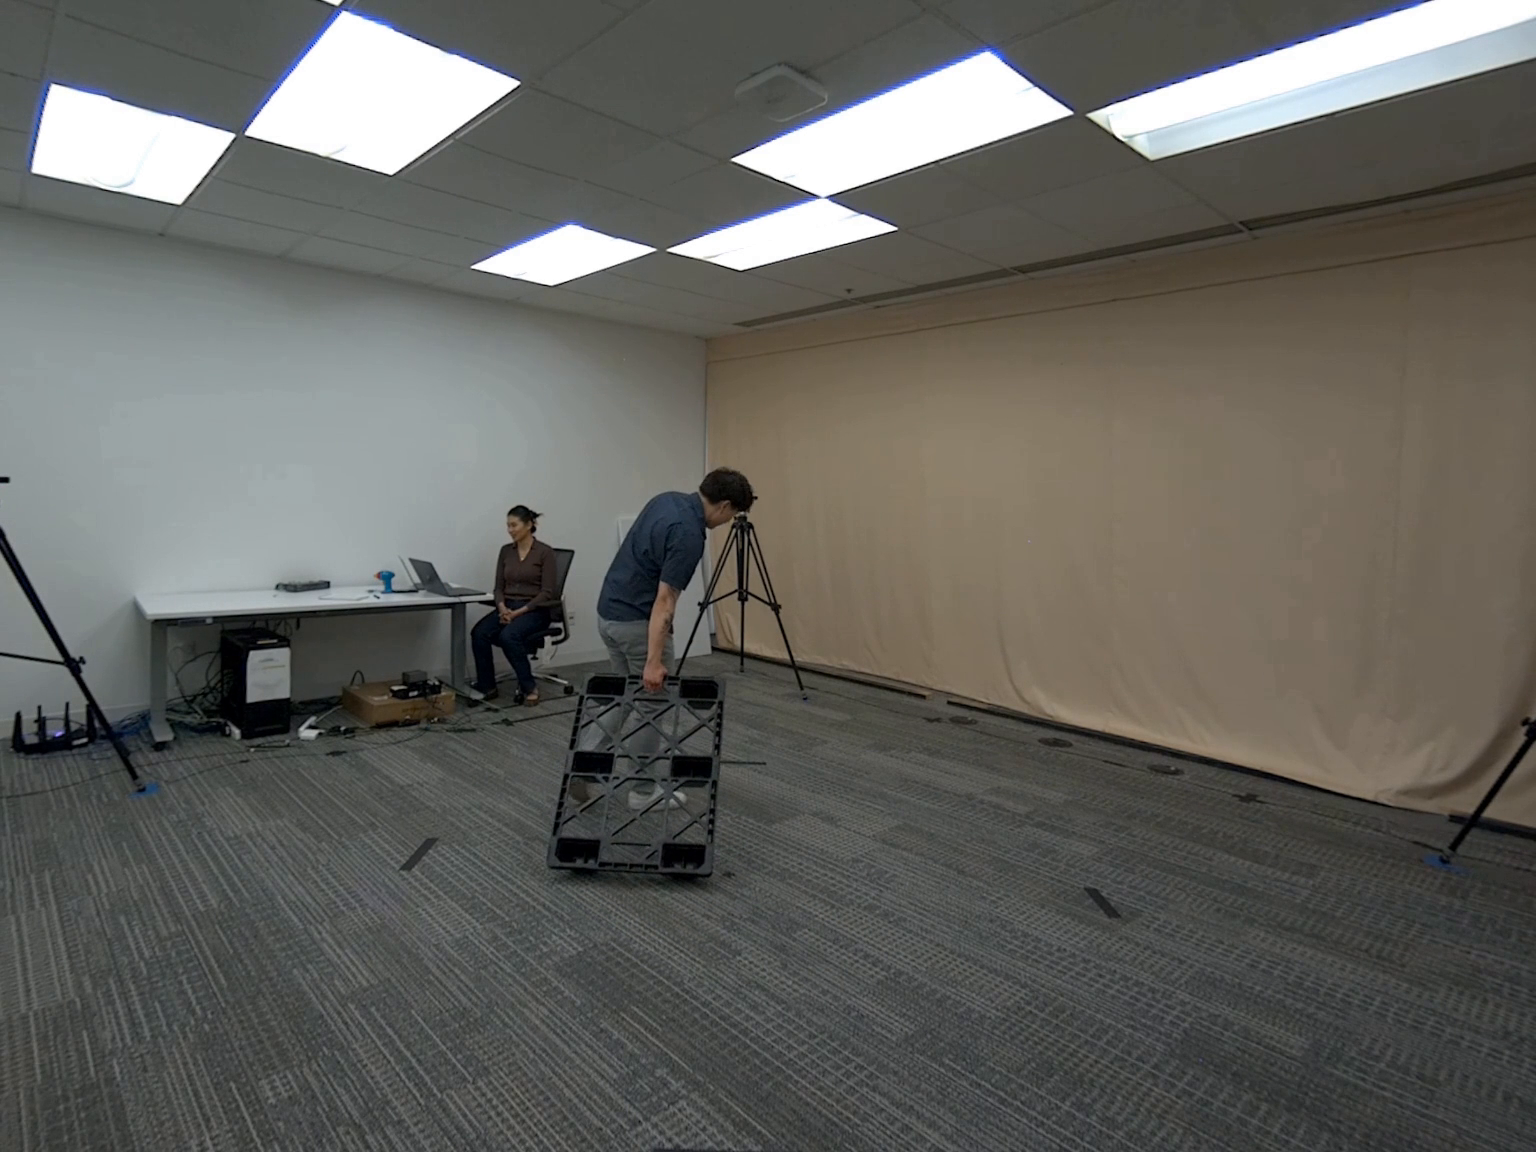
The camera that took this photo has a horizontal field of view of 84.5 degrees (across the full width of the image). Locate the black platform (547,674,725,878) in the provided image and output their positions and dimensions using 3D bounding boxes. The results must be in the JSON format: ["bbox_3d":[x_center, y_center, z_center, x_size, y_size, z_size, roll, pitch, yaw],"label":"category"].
[{"bbox_3d":[-0.495,0.766,3.281,0.606,0.822,0.140,1,-38,2],"label":"black platform"}]
